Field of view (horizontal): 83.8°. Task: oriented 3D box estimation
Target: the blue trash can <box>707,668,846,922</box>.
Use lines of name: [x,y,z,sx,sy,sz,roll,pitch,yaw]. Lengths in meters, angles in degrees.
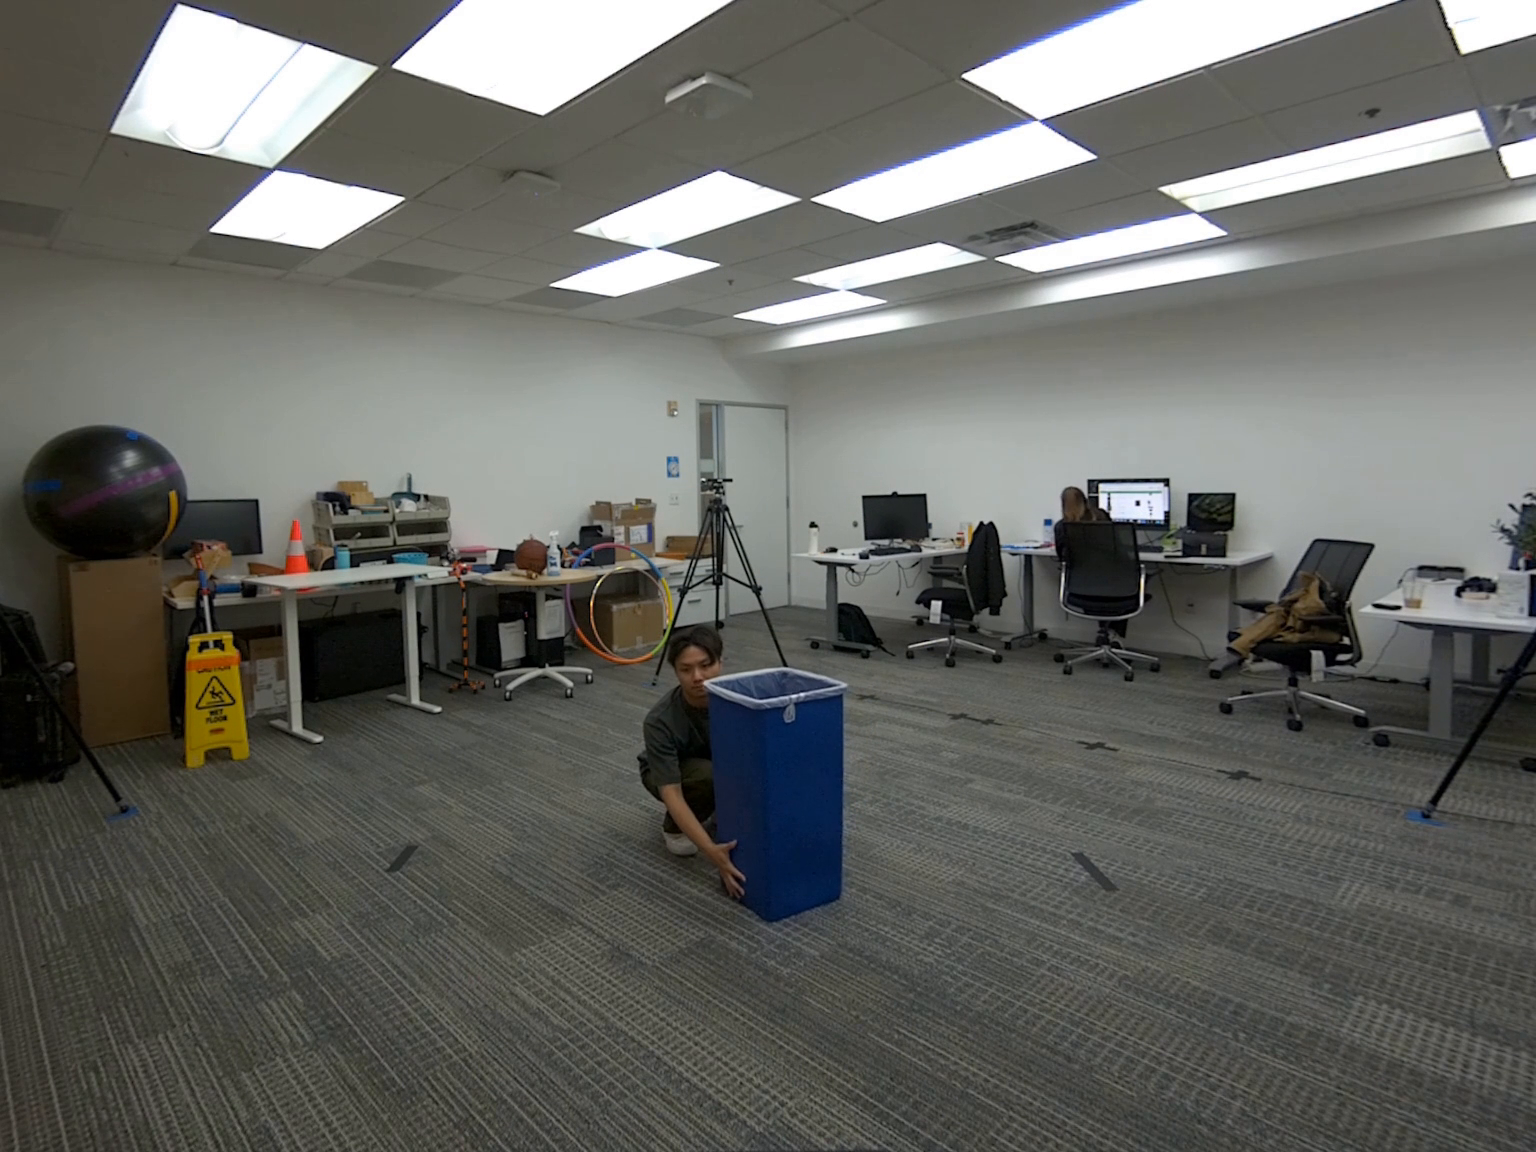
blue trash can: [0.044,0.709,2.869,0.365,0.711,0.389,-5,5,-33]
